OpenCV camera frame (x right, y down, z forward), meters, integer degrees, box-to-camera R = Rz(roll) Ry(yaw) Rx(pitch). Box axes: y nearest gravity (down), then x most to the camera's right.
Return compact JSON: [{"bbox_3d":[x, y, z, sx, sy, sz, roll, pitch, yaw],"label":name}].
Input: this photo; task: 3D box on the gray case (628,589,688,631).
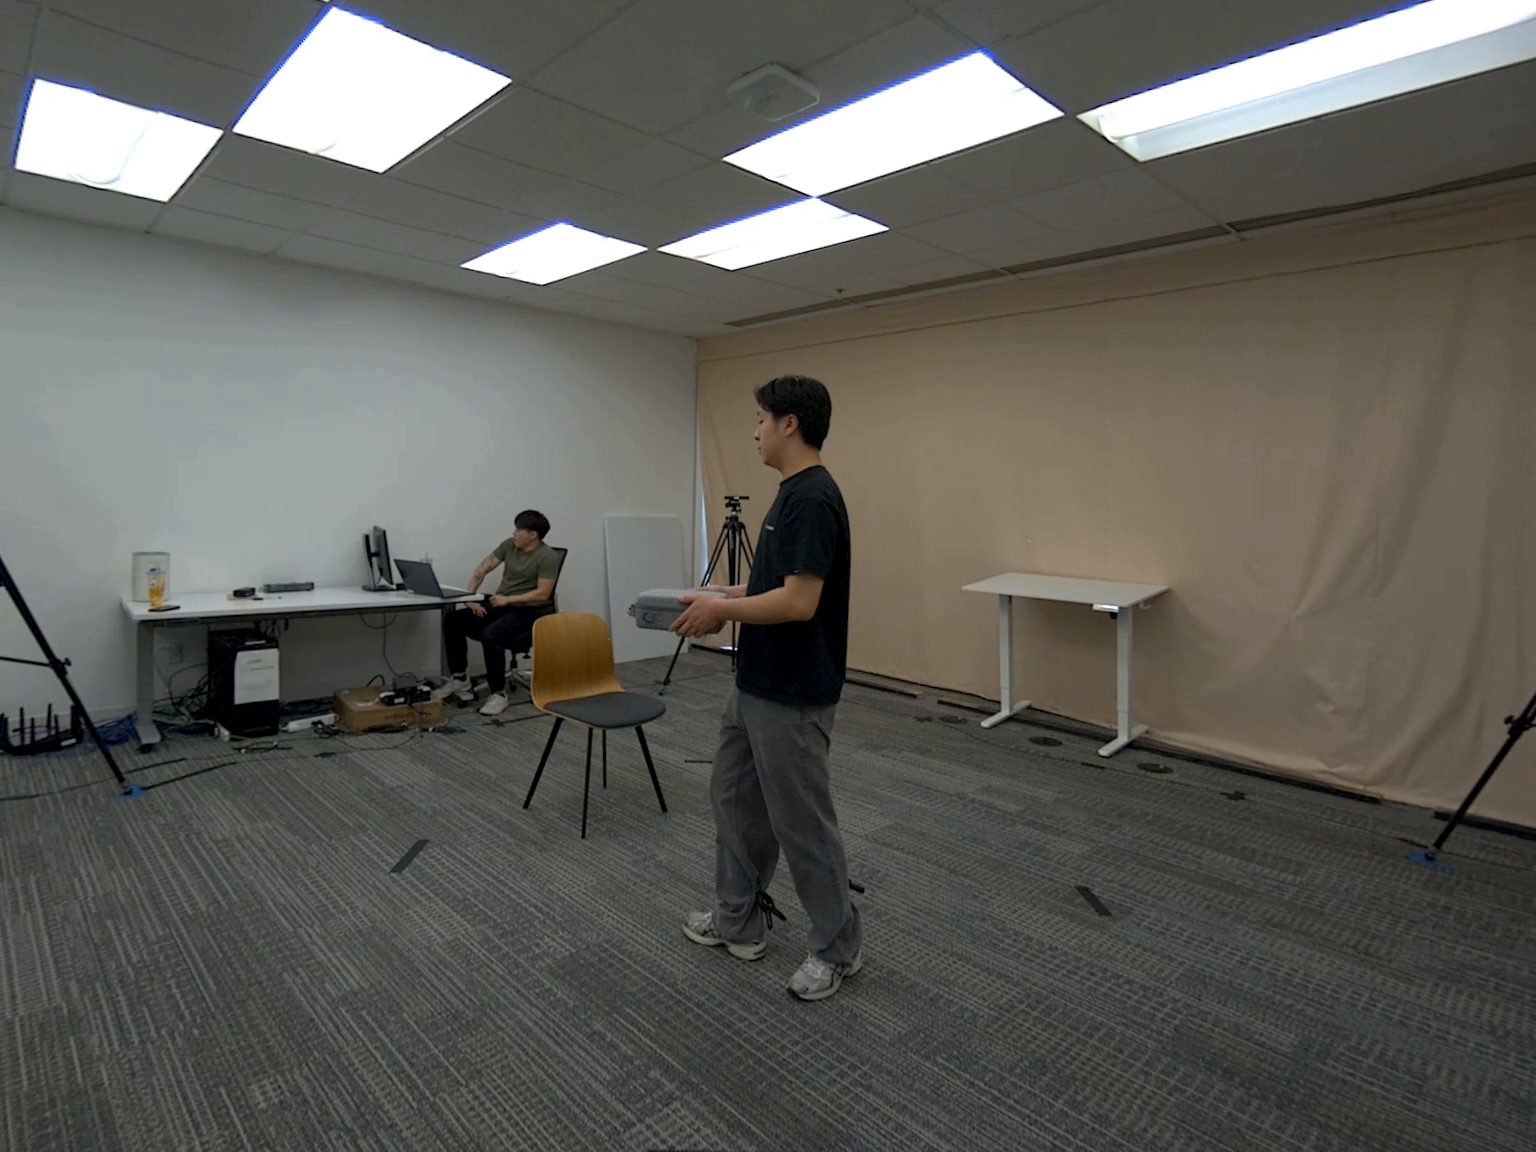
[{"bbox_3d":[-0.265,0.099,2.484,0.289,0.103,0.262,3,5,9],"label":"gray case"}]
